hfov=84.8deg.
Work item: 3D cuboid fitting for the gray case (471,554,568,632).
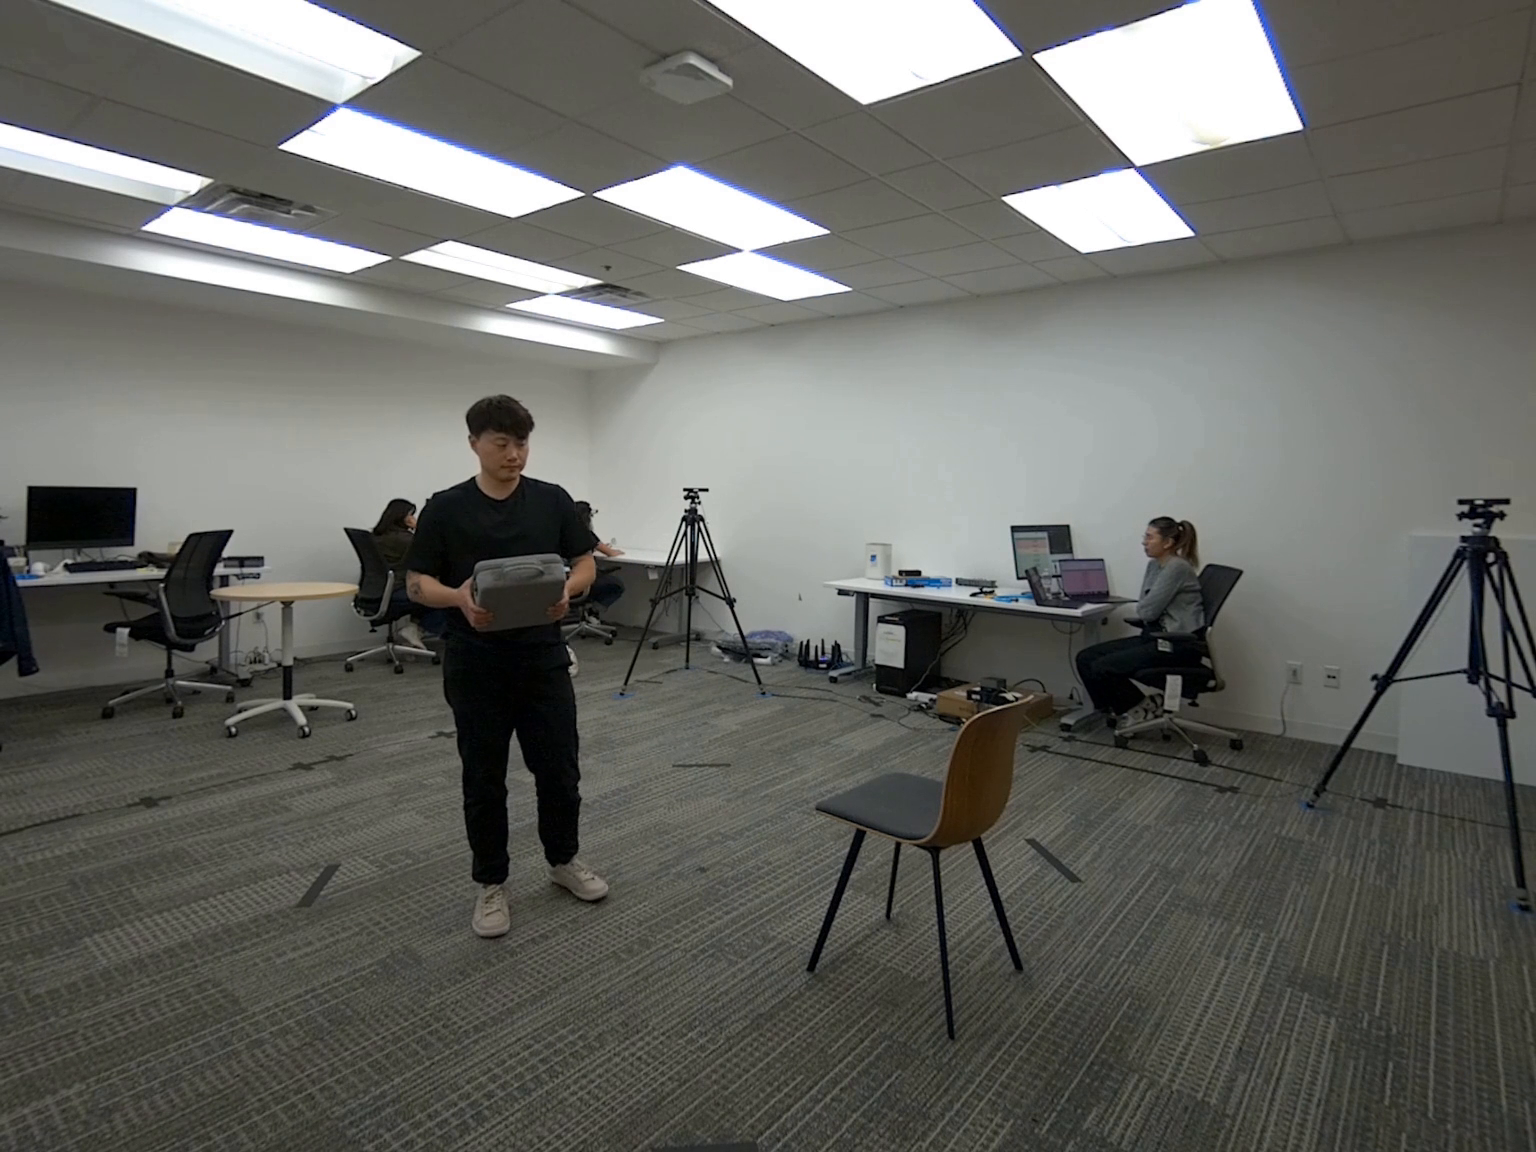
[{"bbox_3d":[-0.737,0.044,2.484,0.252,0.108,0.257,-5,-33,-23],"label":"gray case"}]
